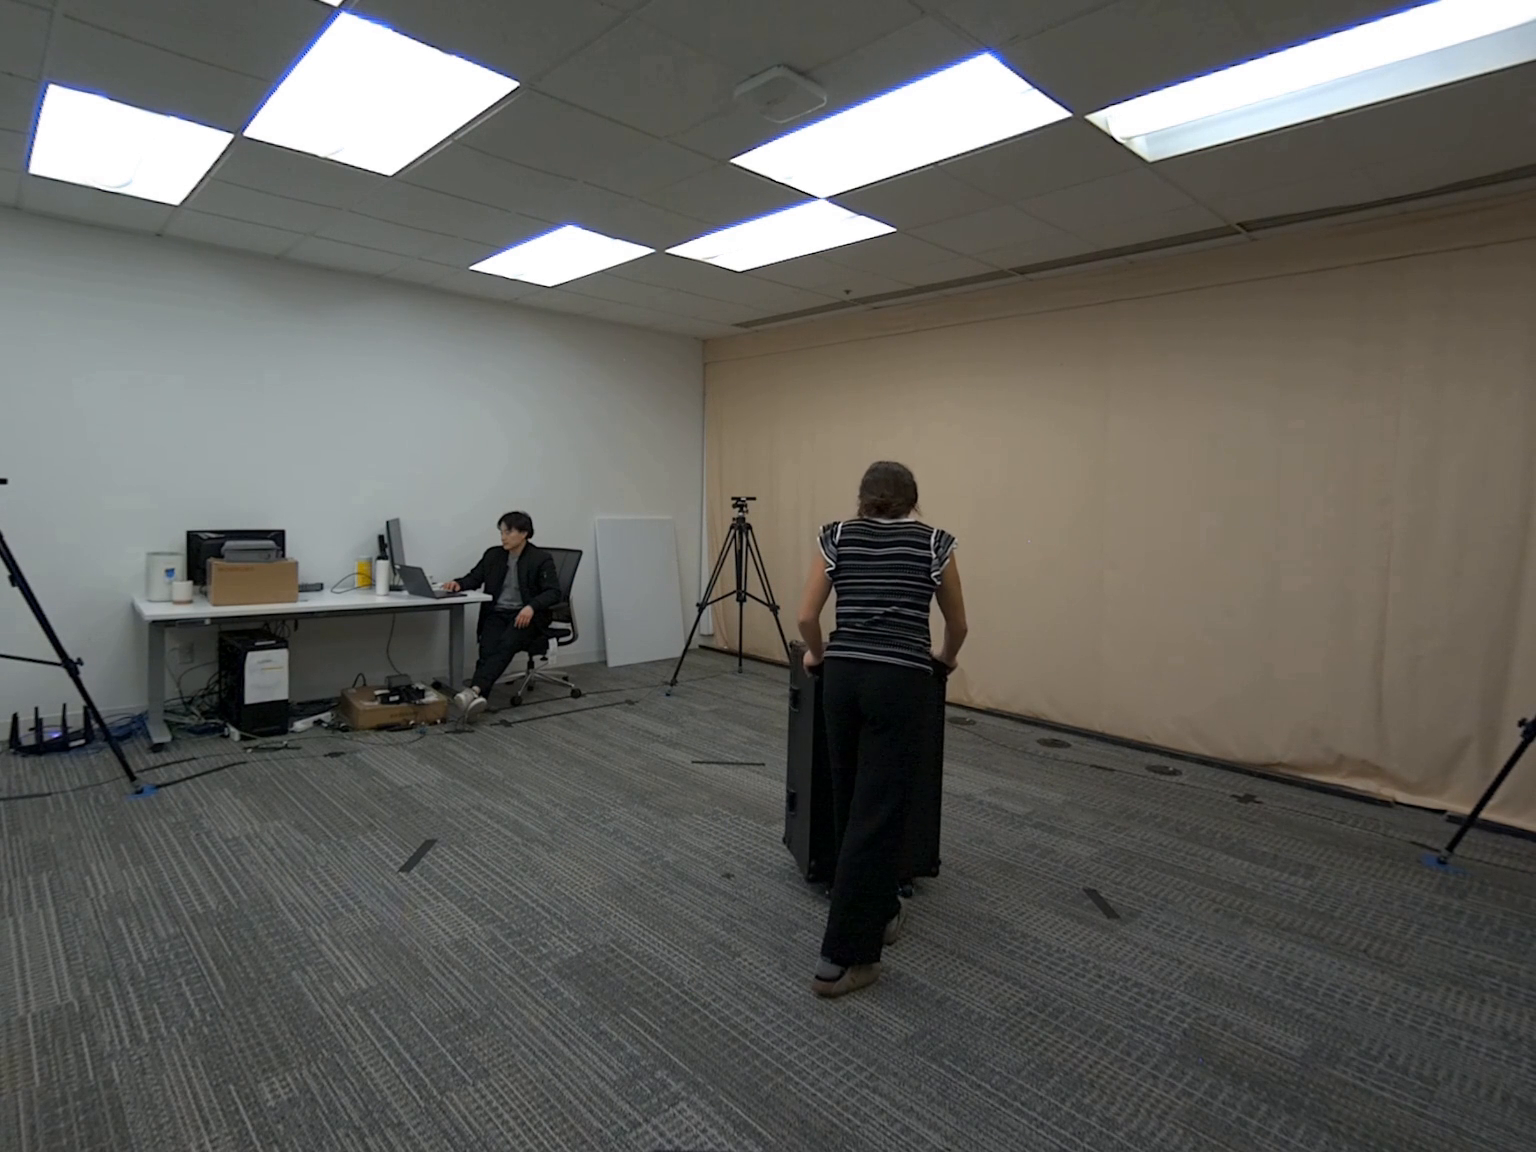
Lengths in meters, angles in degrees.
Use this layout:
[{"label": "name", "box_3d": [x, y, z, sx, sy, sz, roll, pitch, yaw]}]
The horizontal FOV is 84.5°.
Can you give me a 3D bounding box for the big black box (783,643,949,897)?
[{"label": "big black box", "box_3d": [0.344, 0.695, 3.082, 0.517, 0.859, 0.401, 2, 4, -10]}]
